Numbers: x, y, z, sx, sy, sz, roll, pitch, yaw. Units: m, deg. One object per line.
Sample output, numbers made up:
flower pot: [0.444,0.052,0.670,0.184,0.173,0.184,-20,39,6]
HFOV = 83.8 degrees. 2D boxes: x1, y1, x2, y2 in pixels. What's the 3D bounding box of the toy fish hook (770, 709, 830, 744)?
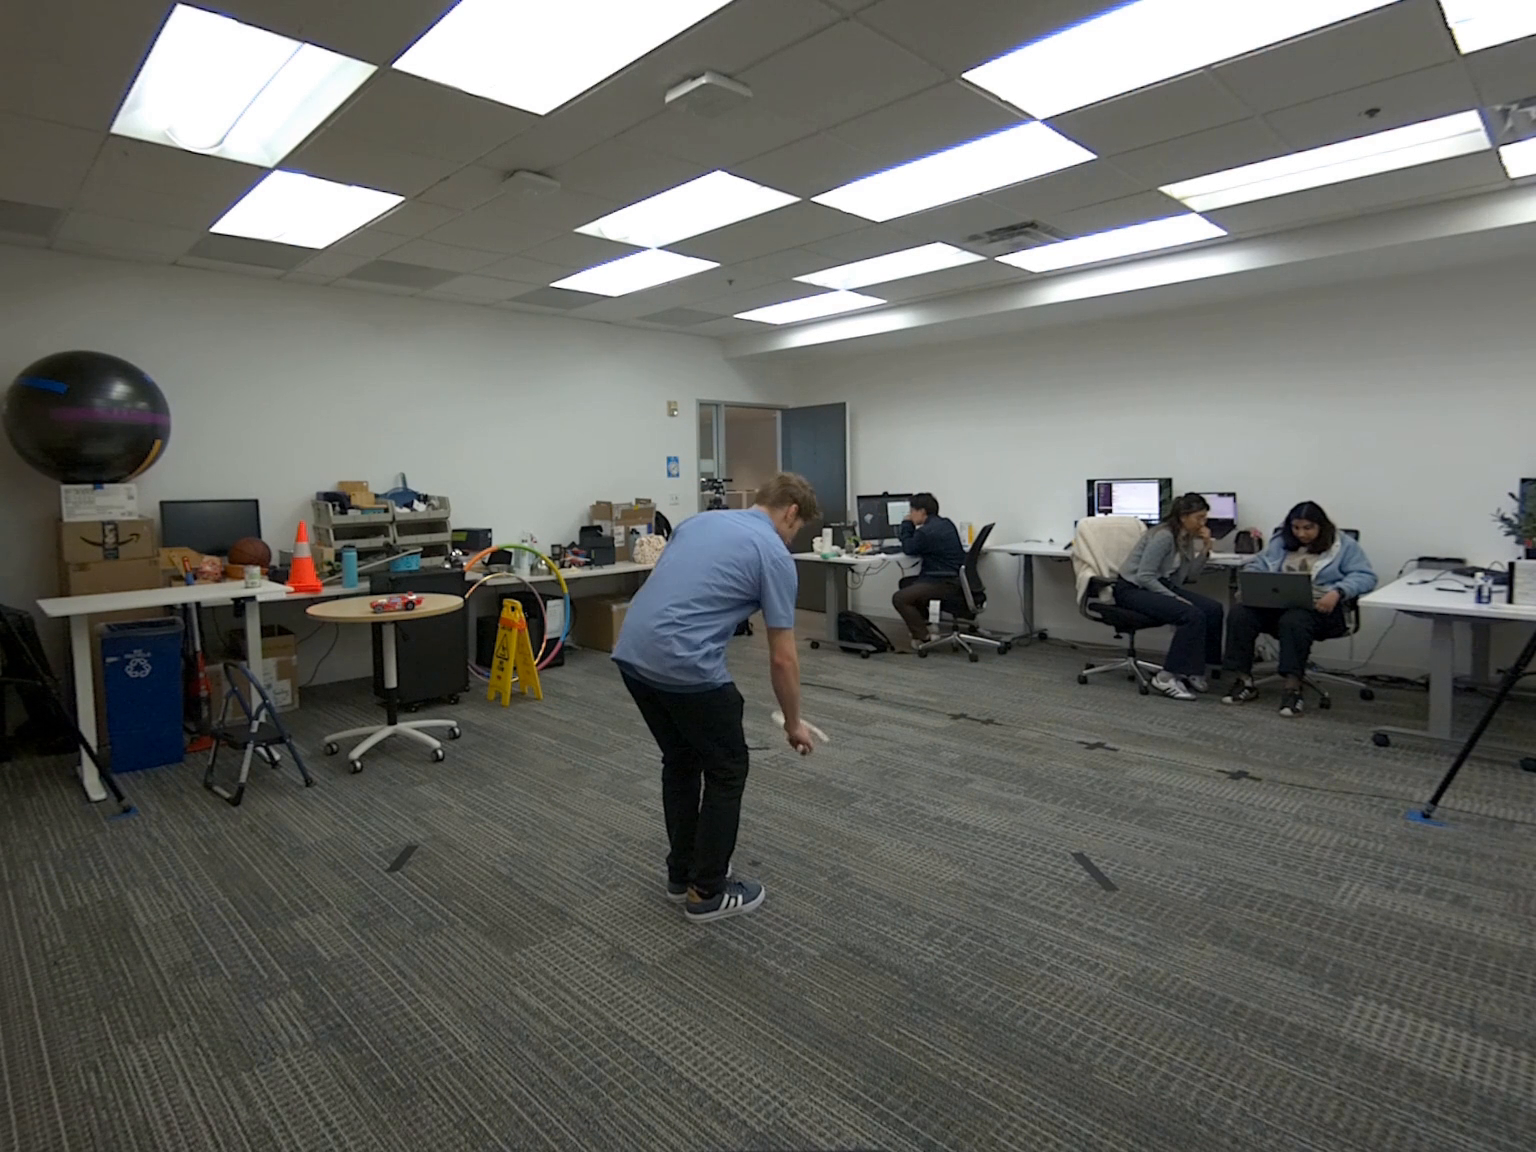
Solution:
toy fish hook: [0.150,0.568,3.038,0.223,0.048,0.510,16,4,-5]
